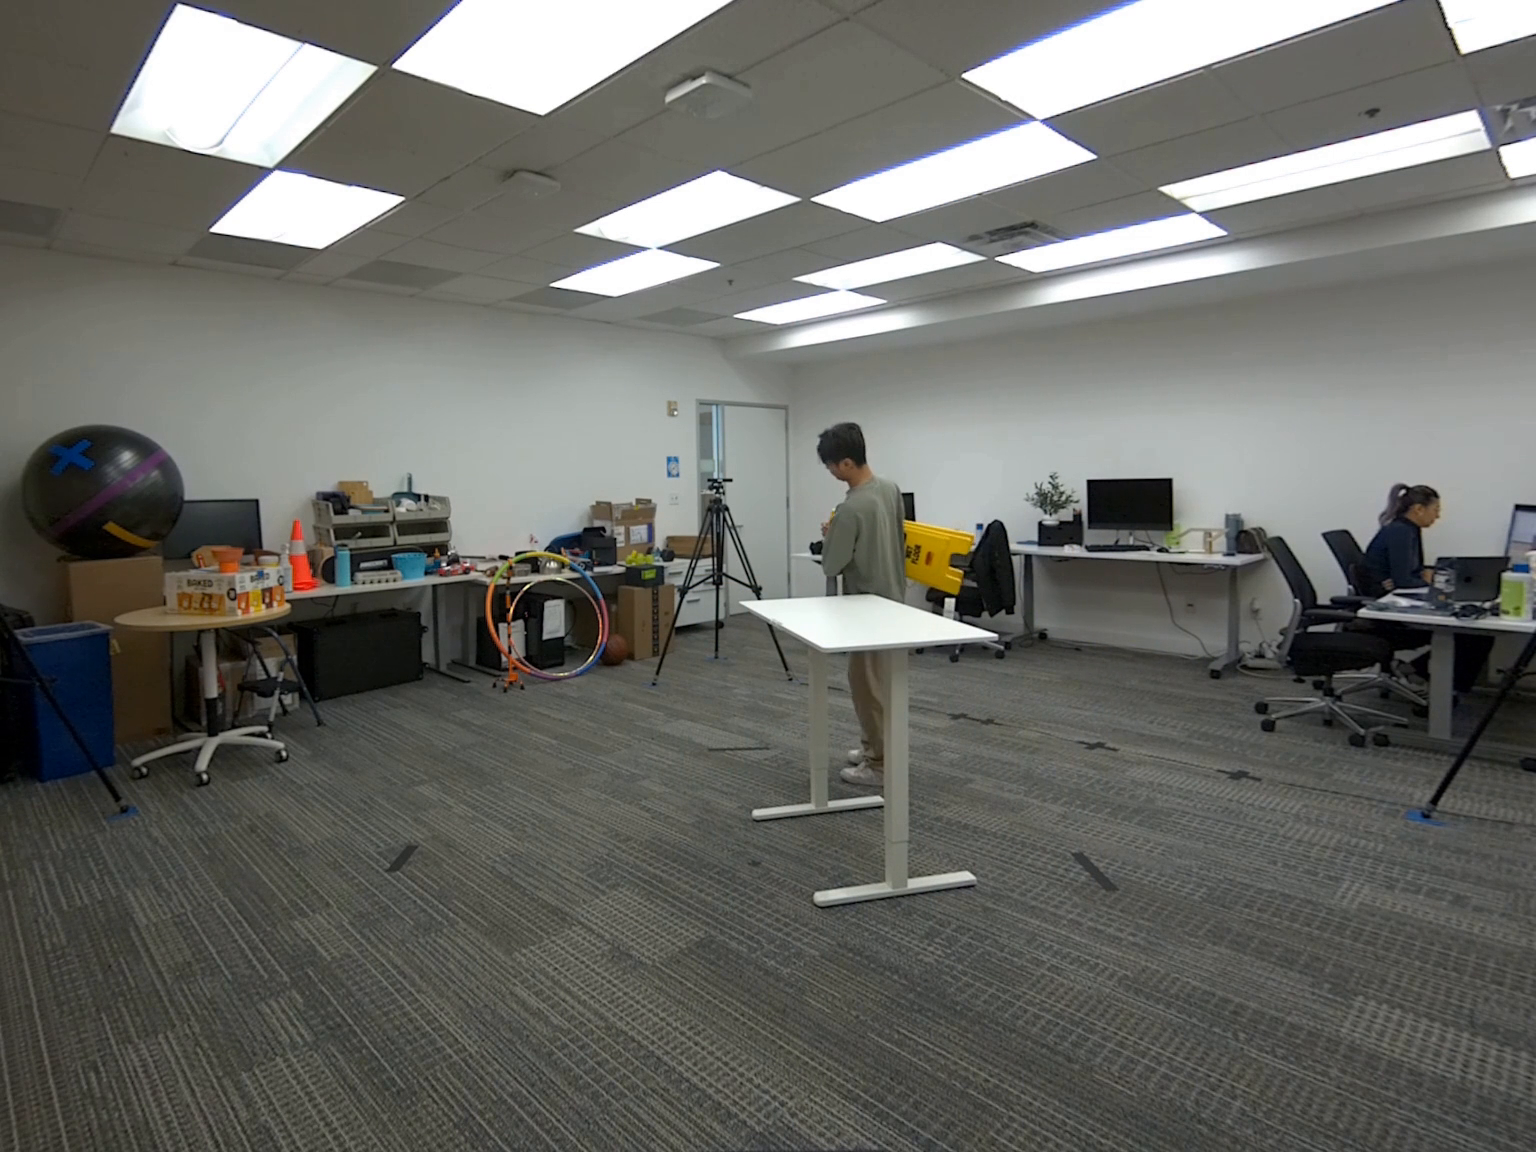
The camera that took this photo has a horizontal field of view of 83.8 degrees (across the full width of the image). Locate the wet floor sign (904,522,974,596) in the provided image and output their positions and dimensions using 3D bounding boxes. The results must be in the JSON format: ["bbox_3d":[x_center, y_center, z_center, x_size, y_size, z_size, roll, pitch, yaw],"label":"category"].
[{"bbox_3d":[0.586,-0.129,3.996,0.659,0.278,0.288,16,20,17],"label":"wet floor sign"}]
